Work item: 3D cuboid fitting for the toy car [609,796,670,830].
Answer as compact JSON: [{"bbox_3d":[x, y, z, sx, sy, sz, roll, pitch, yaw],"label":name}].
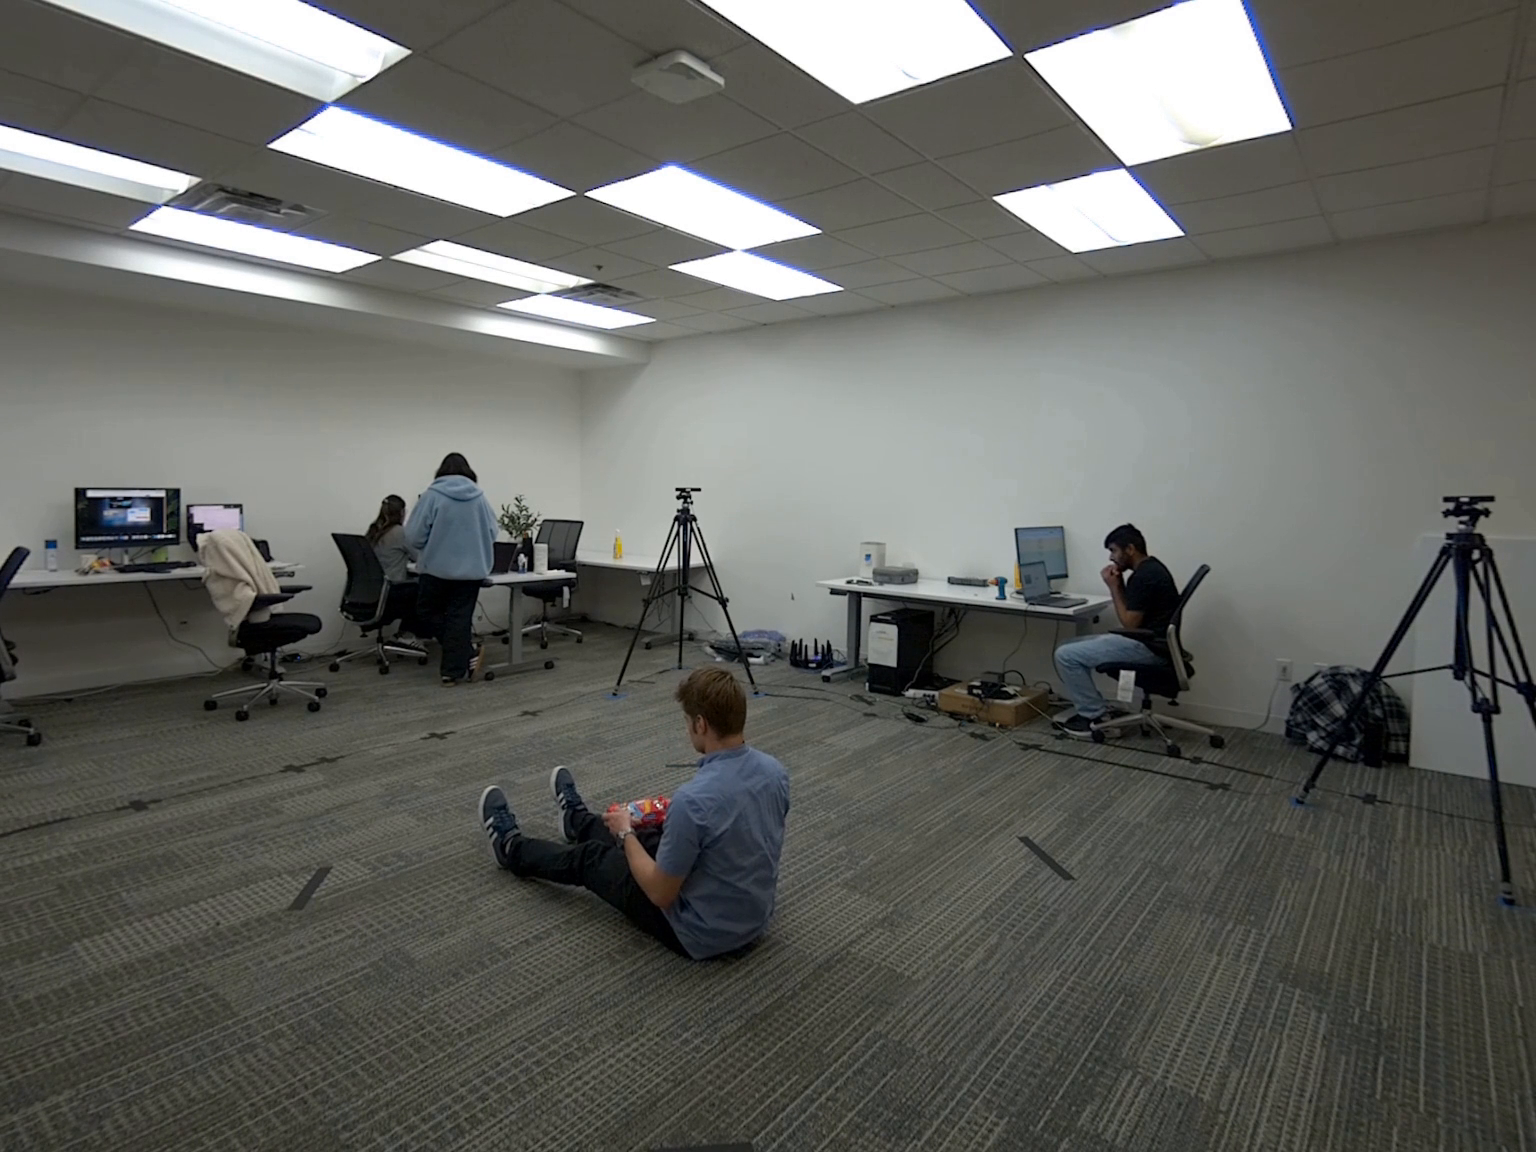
[{"bbox_3d":[-0.420,0.789,2.821,0.247,0.082,0.136,-7,32,-41],"label":"toy car"}]
